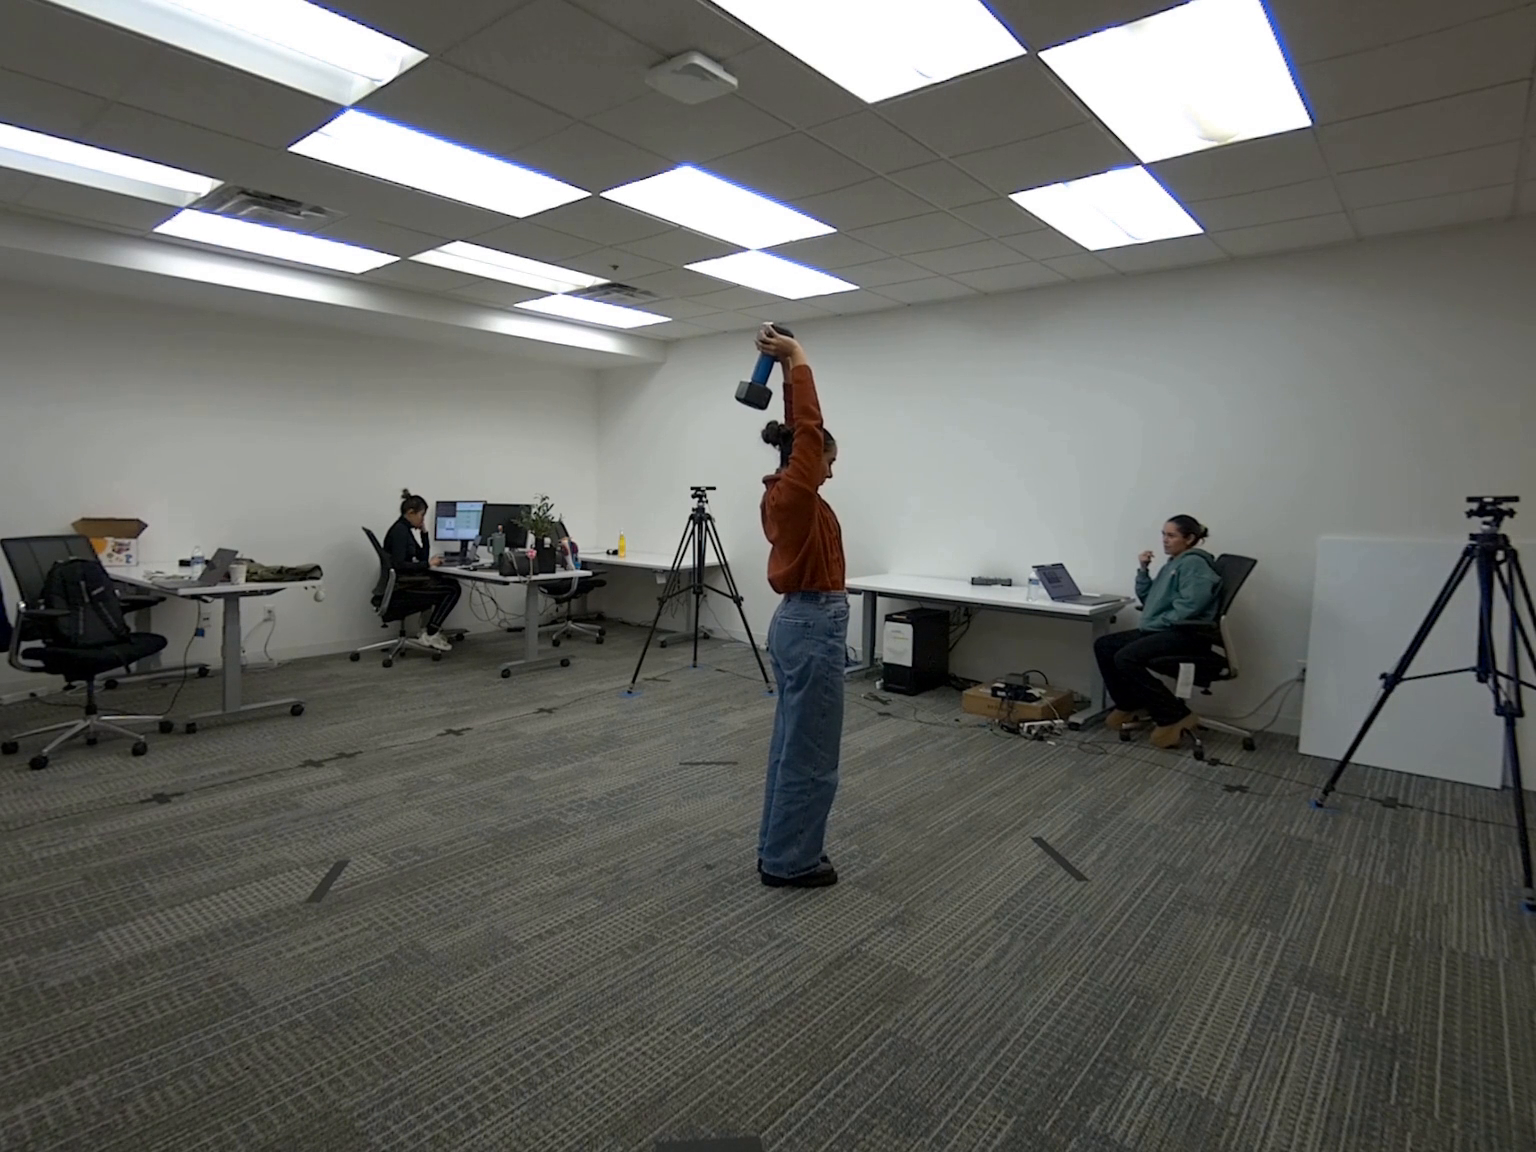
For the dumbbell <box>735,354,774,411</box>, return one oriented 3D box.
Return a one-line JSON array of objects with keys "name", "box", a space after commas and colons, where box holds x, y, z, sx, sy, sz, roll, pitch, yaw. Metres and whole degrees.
[{"name": "dumbbell", "box": [-0.018, -0.735, 2.987, 0.121, 0.293, 0.110, 21, 2, -12]}]
